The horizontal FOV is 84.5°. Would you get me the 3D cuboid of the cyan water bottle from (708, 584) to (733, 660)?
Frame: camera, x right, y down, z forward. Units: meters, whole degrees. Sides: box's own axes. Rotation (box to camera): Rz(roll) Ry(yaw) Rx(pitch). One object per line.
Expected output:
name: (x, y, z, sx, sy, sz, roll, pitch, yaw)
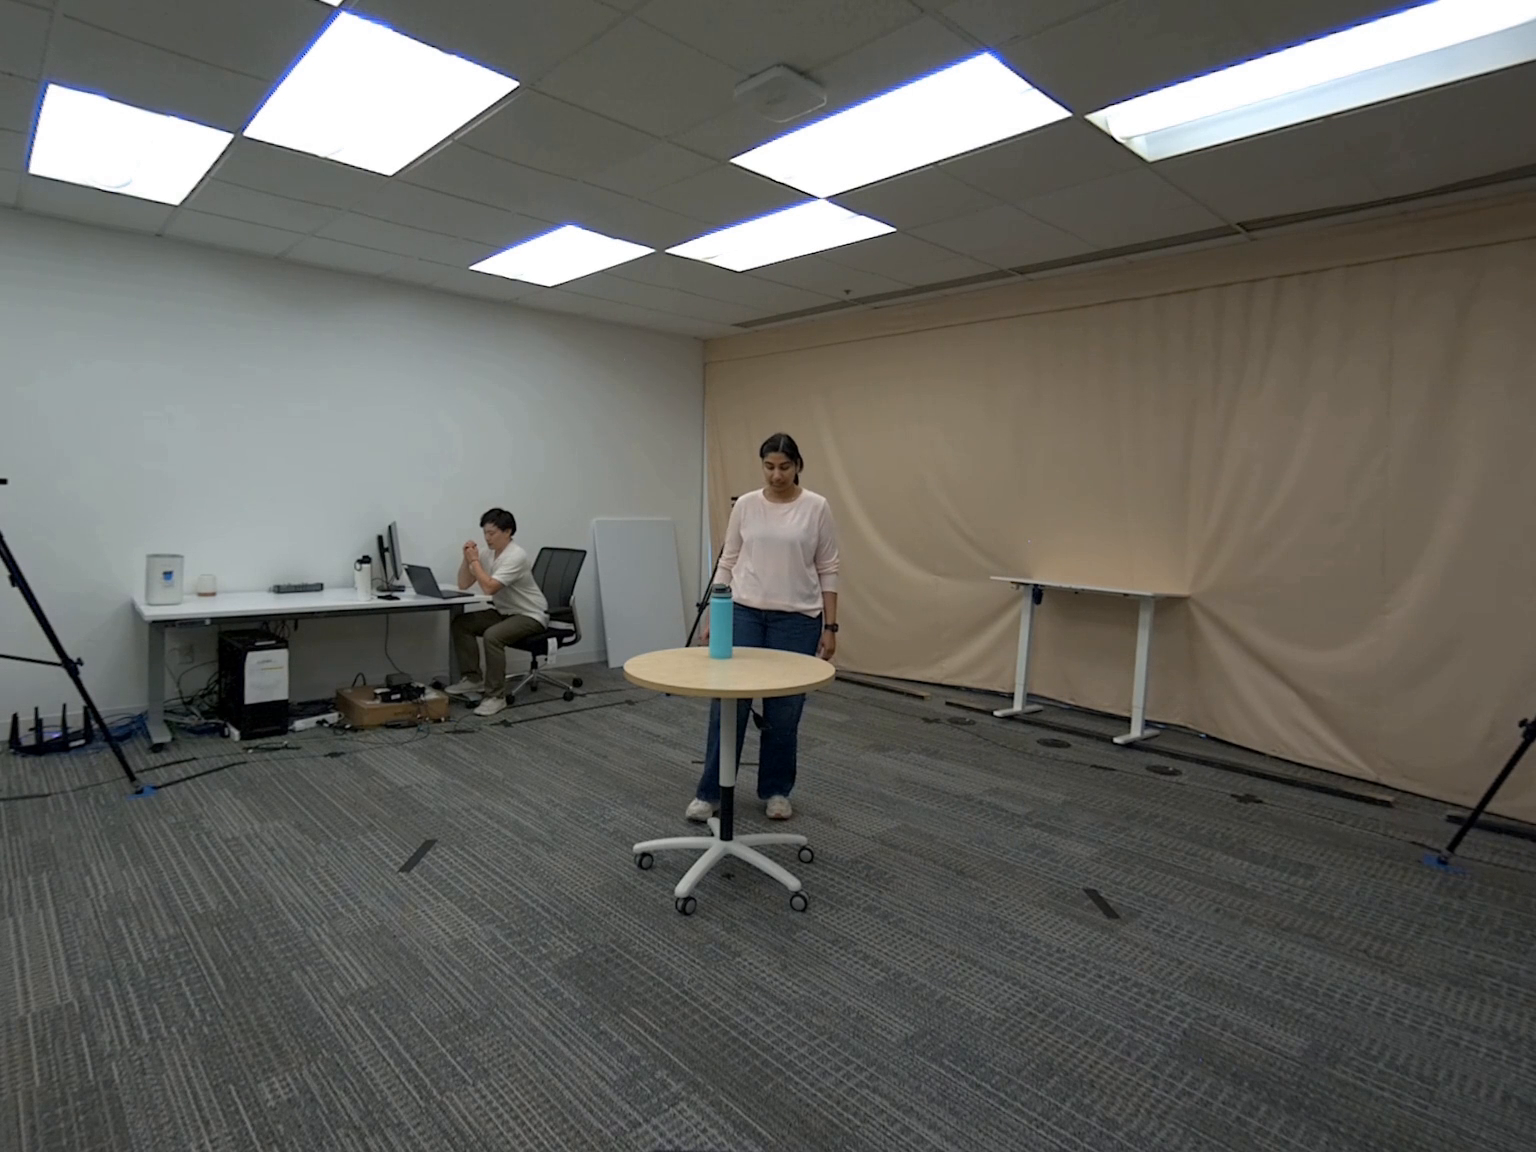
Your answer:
cyan water bottle: (-0.196, 0.171, 3.224, 0.092, 0.283, 0.092, 0, 1, -1)
